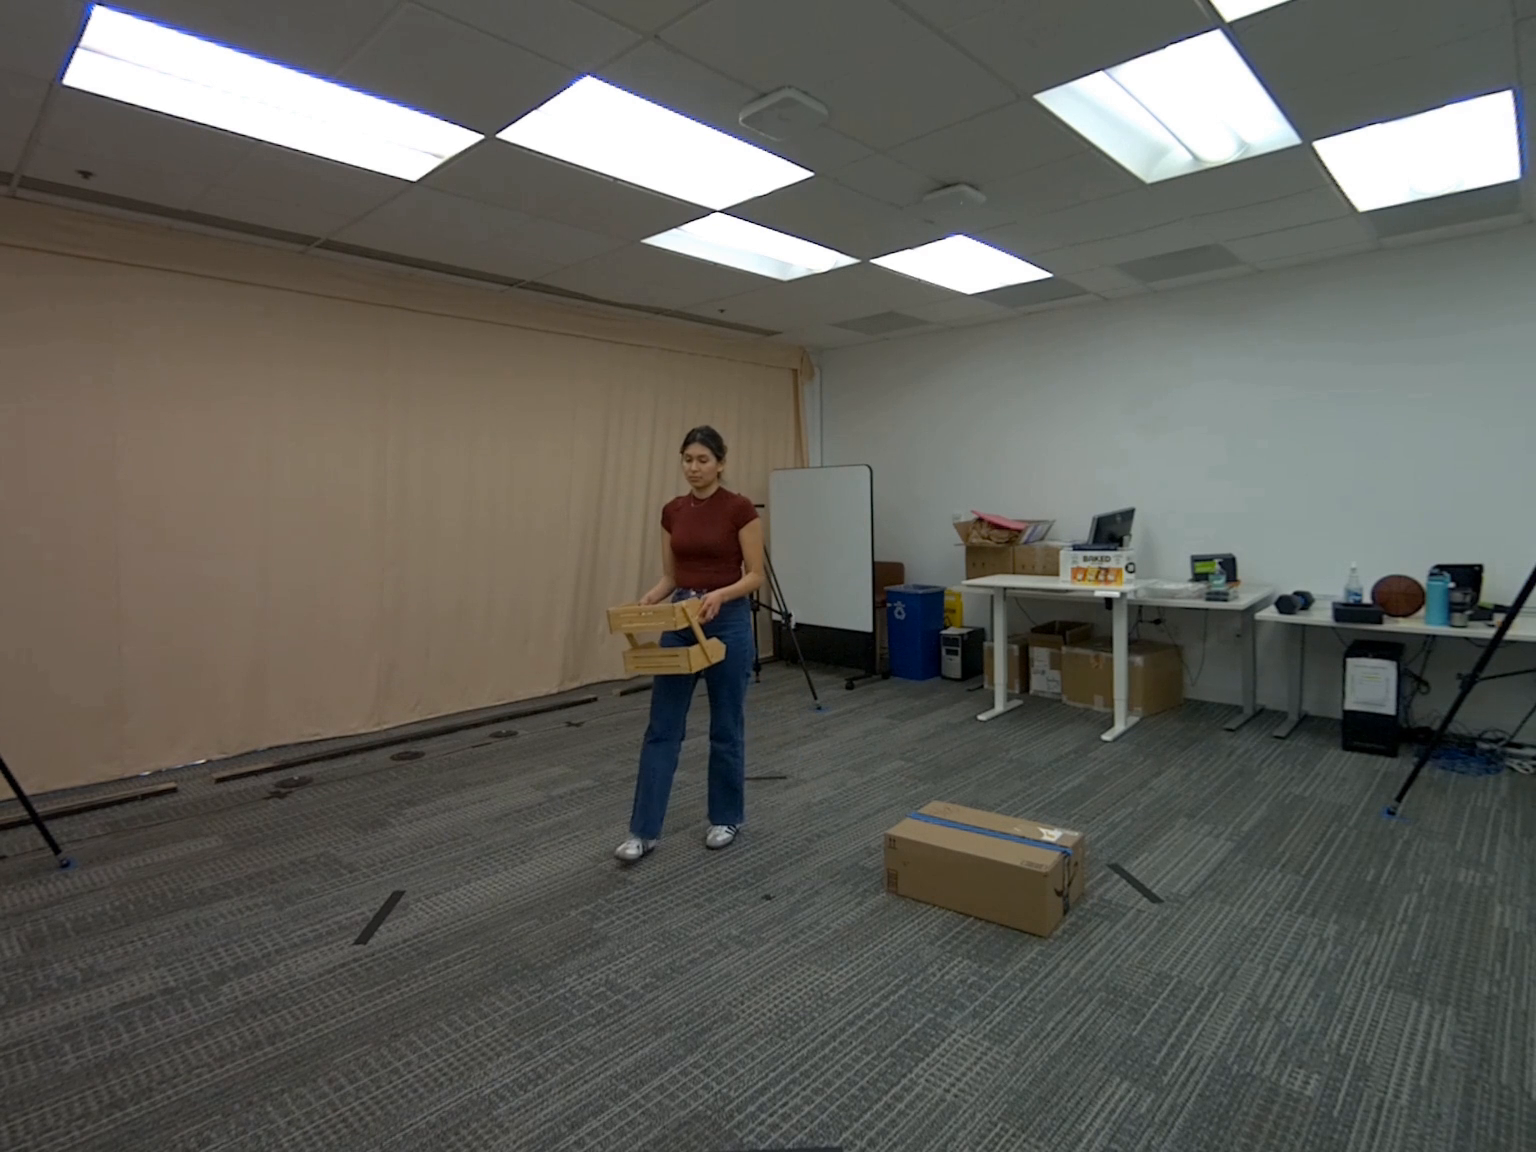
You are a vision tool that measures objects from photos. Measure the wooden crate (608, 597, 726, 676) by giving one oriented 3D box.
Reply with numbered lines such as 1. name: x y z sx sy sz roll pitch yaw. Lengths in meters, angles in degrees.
1. wooden crate: -0.377 0.217 3.156 0.333 0.272 0.295 -6 4 29
